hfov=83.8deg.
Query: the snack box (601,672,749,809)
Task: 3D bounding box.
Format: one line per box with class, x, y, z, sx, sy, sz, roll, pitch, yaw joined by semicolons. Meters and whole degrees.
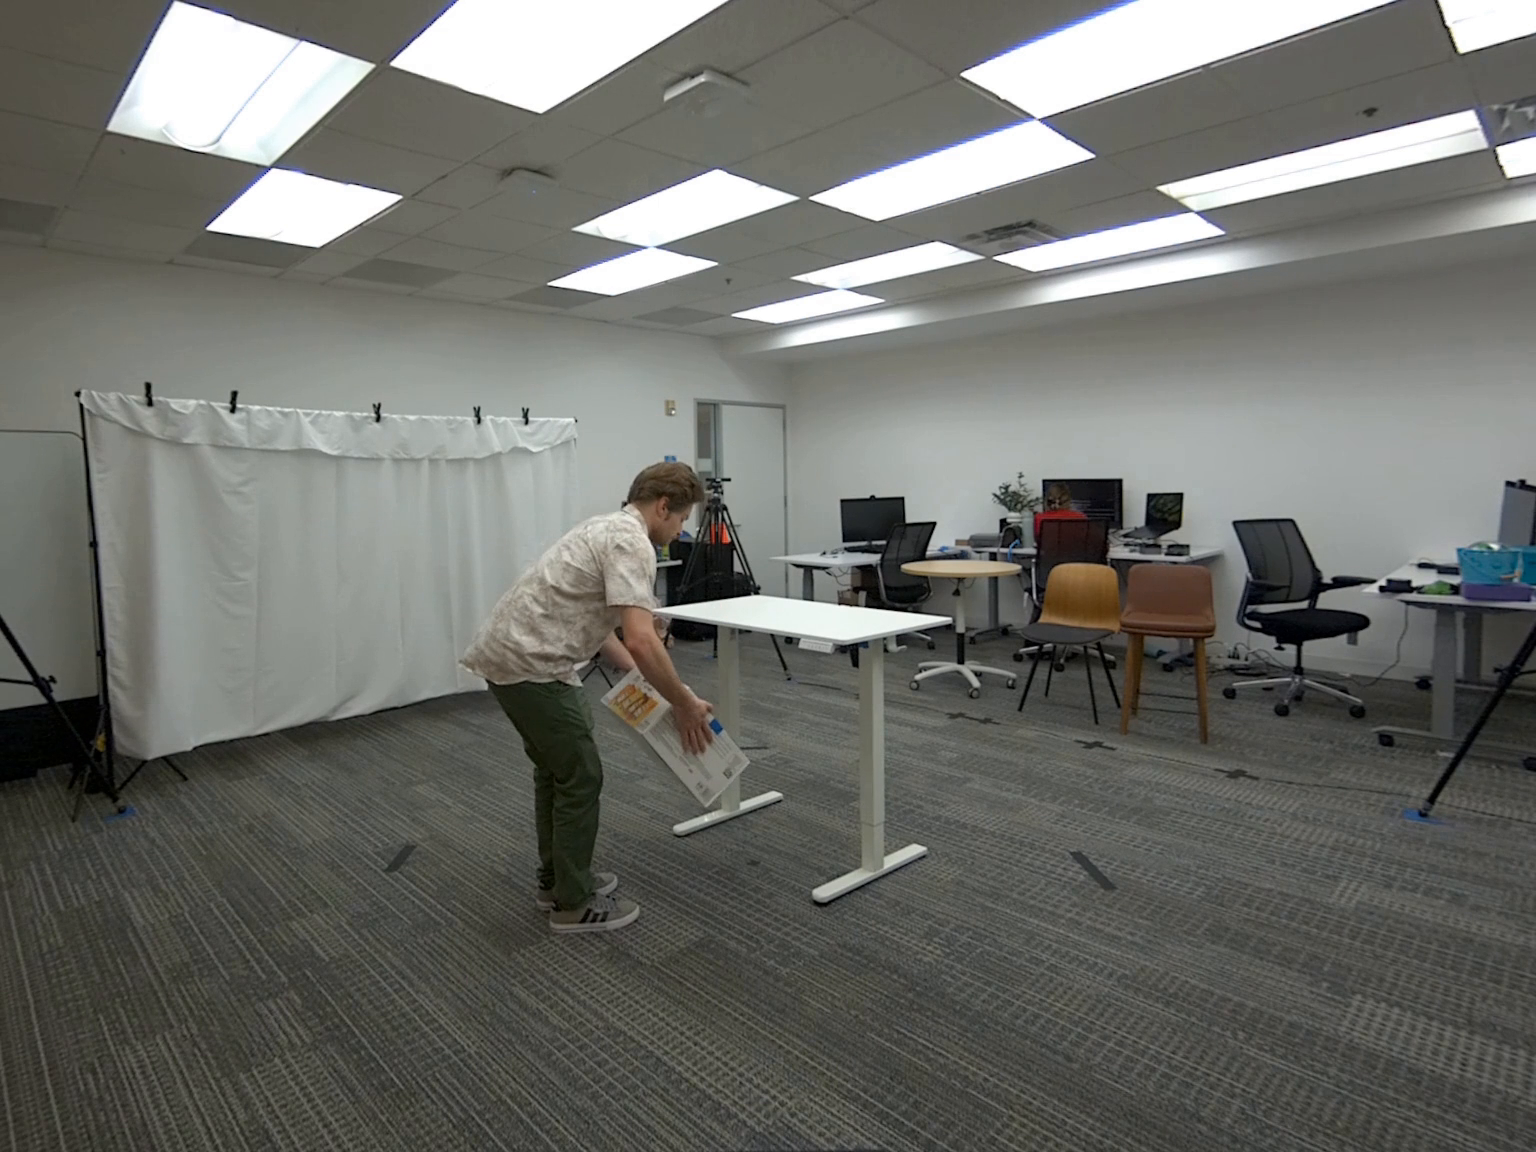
snack box;-0.309;0.503;2.796;0.205;0.332;0.416;-43;22;-17
